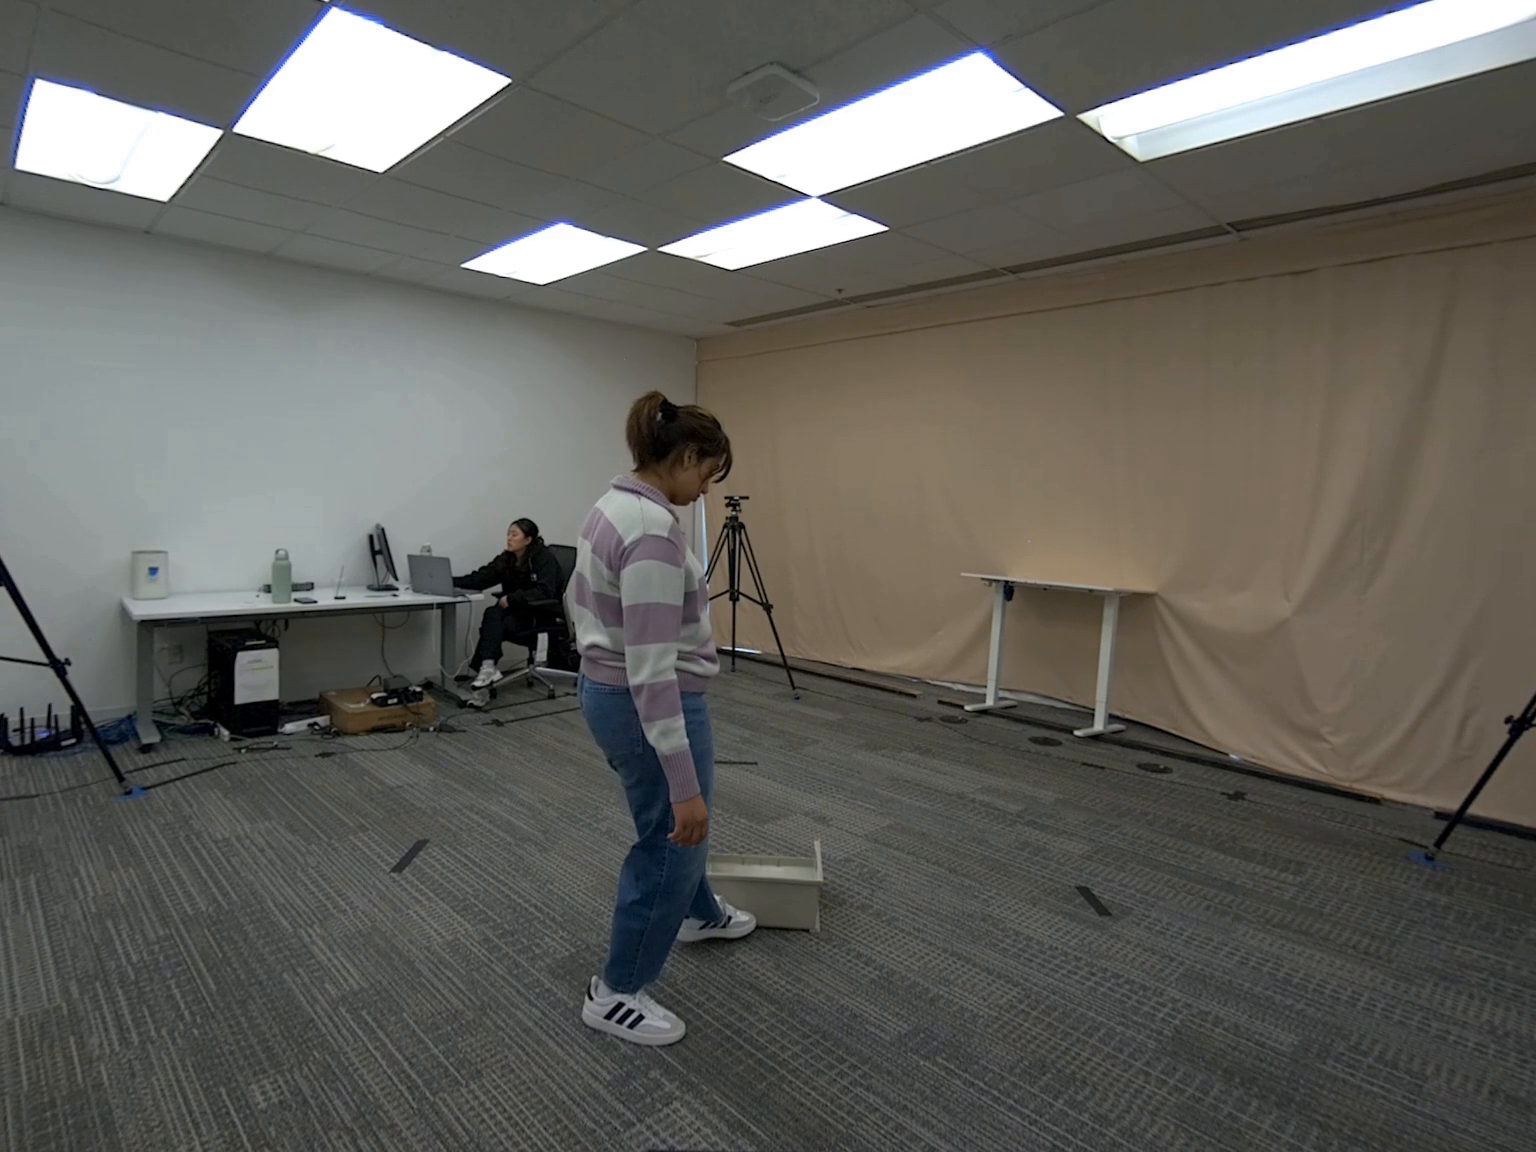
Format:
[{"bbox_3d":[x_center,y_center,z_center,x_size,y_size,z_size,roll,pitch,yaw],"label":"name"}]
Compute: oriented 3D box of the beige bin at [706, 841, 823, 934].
[{"bbox_3d":[-0.034,1.041,2.881,0.423,0.188,0.378,2,6,2],"label":"beige bin"}]
